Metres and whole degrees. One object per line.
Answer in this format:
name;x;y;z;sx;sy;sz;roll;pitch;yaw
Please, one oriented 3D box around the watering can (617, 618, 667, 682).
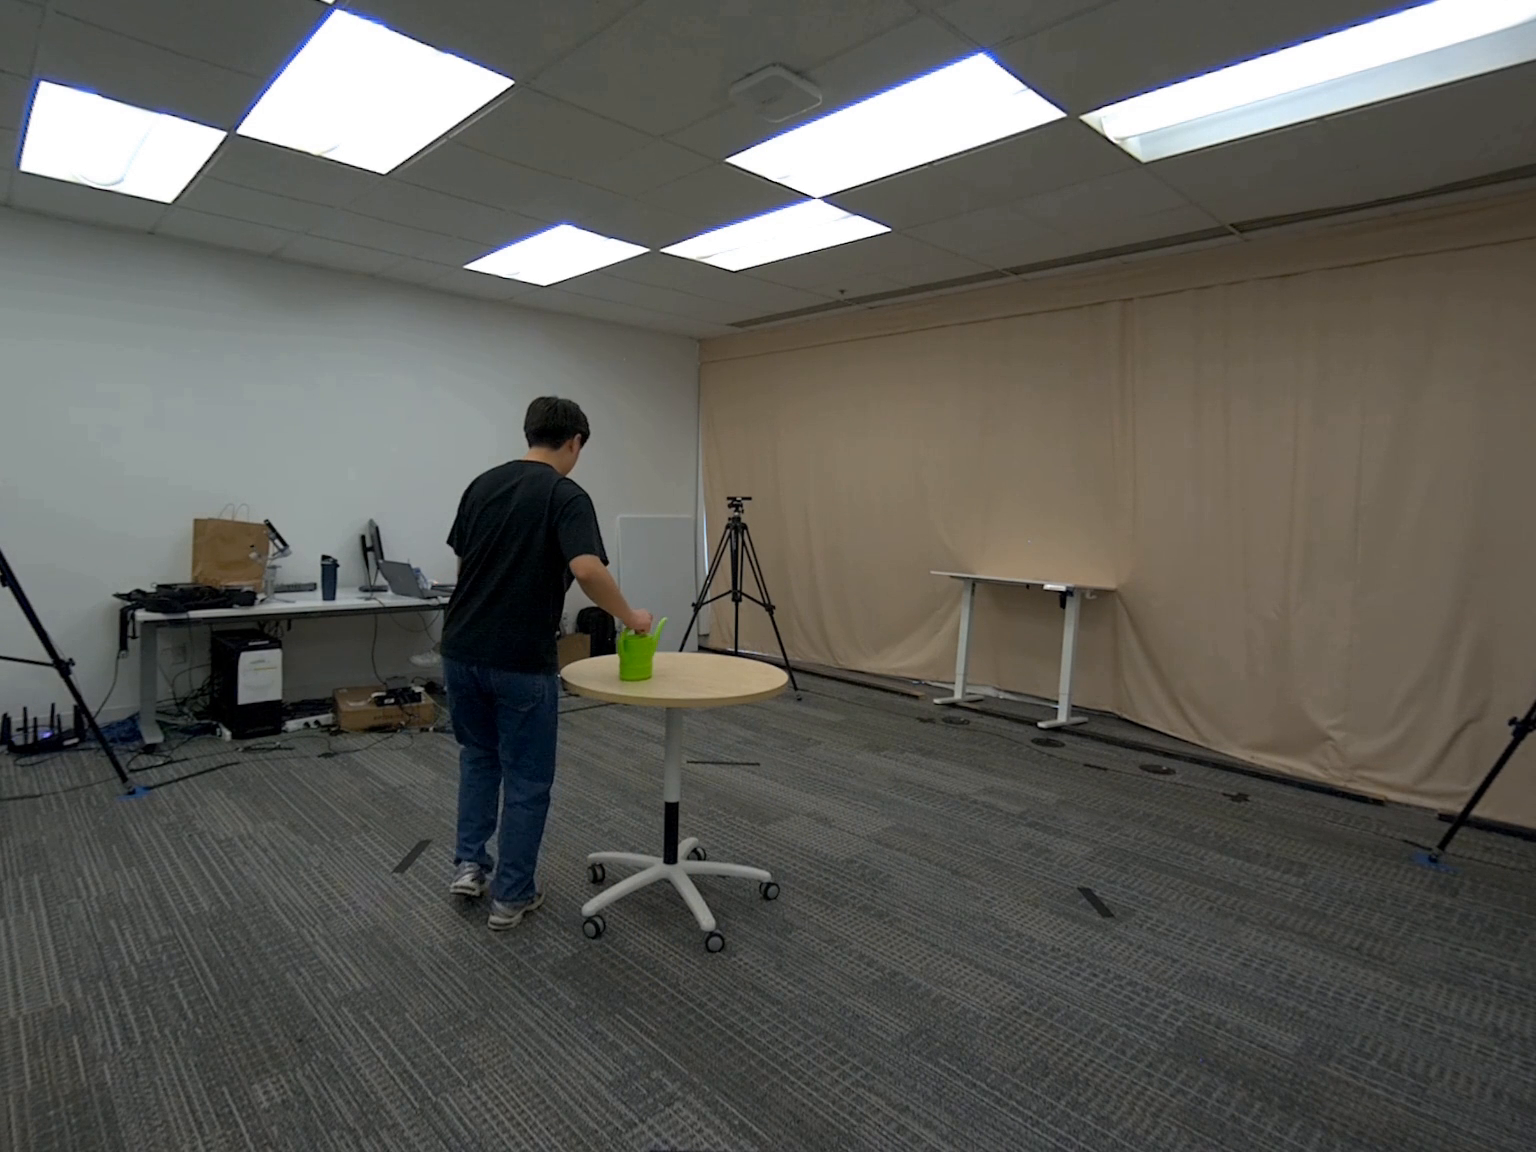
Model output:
watering can;-0.412;0.245;2.774;0.100;0.176;0.272;6;7;41
